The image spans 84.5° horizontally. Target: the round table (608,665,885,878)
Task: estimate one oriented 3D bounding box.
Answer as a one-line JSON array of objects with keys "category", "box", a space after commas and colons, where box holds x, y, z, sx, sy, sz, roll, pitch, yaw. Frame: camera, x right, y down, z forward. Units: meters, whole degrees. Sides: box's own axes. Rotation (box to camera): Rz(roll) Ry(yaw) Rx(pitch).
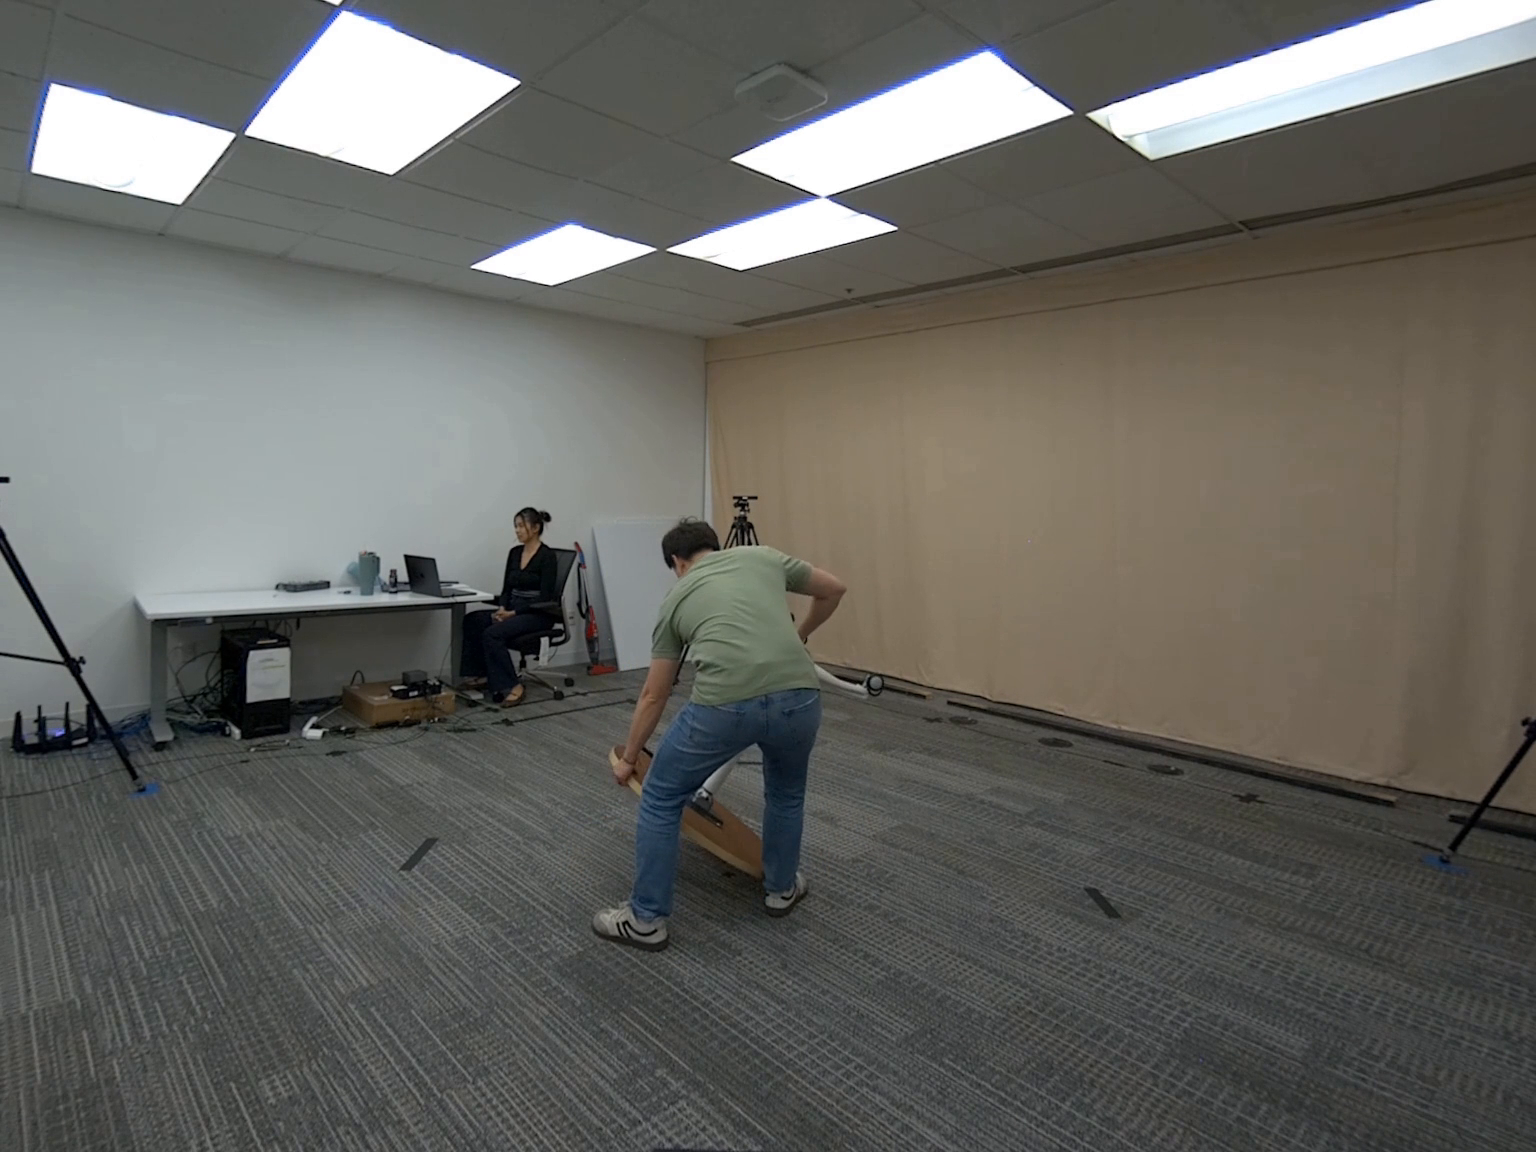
[{"category": "round table", "box": [-0.054, 0.554, 3.168, 0.767, 0.795, 0.760, 34, -7, 3]}]
